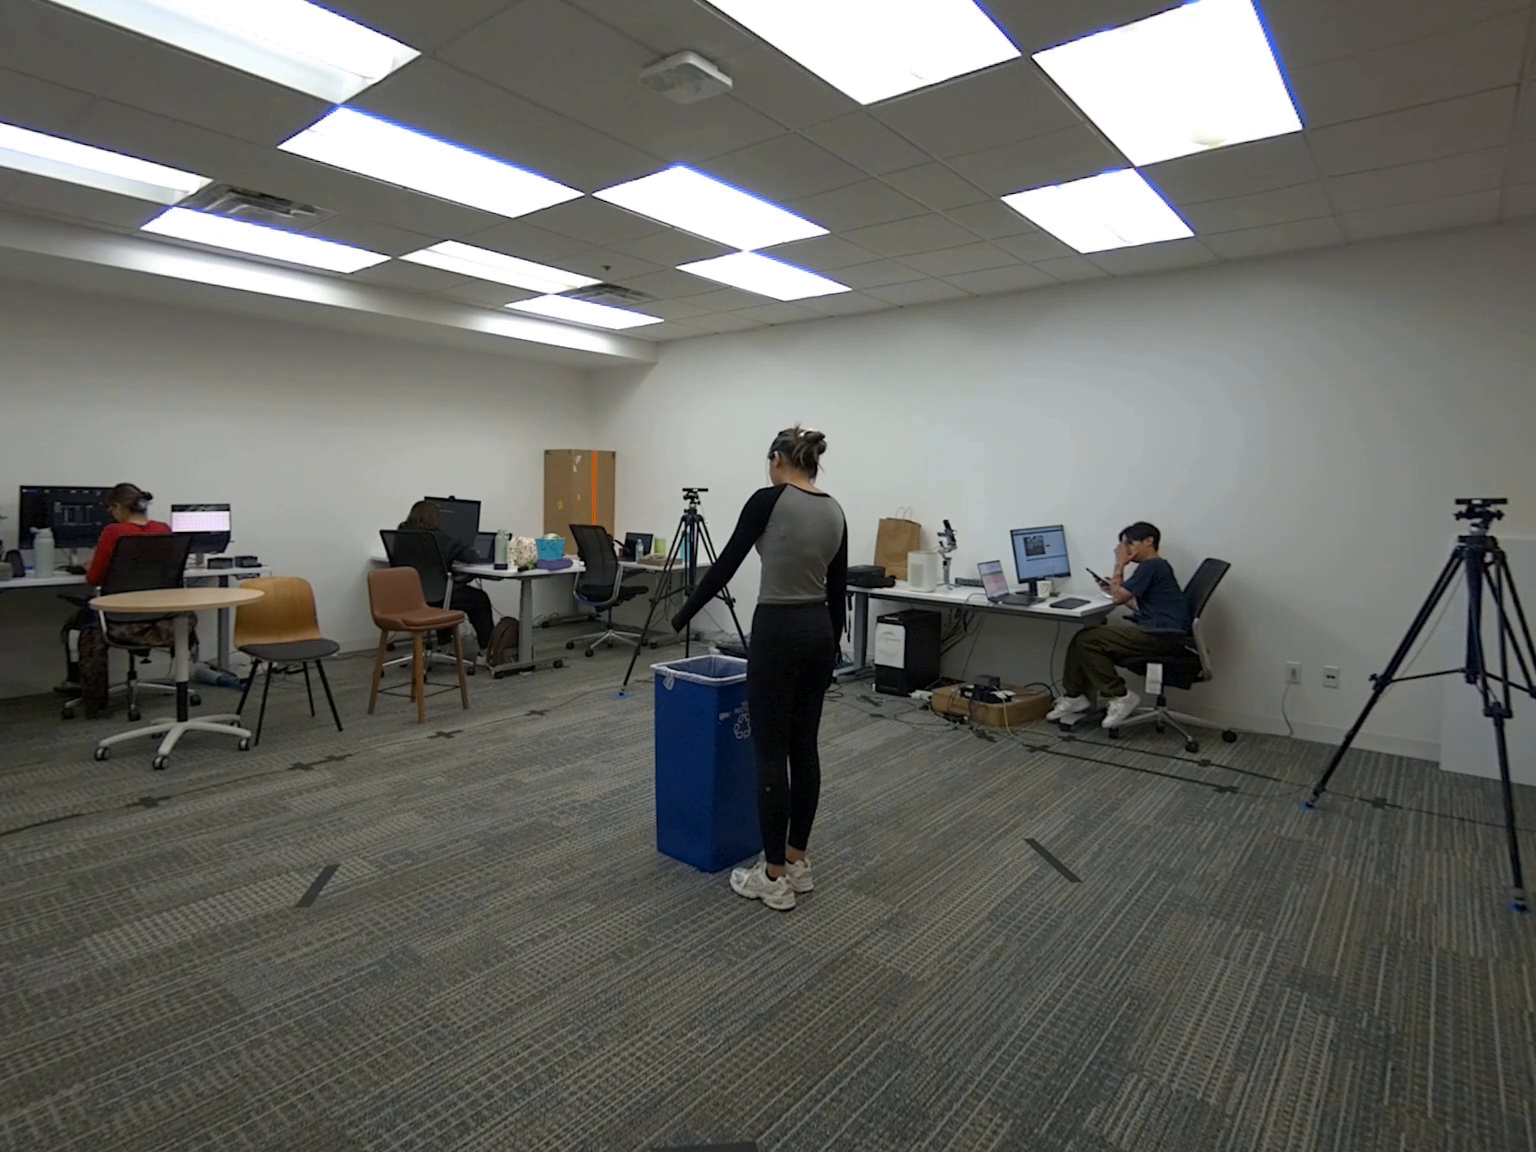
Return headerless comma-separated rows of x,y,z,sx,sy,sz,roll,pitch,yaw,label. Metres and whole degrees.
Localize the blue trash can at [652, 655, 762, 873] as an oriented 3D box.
-0.224,0.697,3.268,0.391,0.711,0.363,4,4,41,blue trash can
